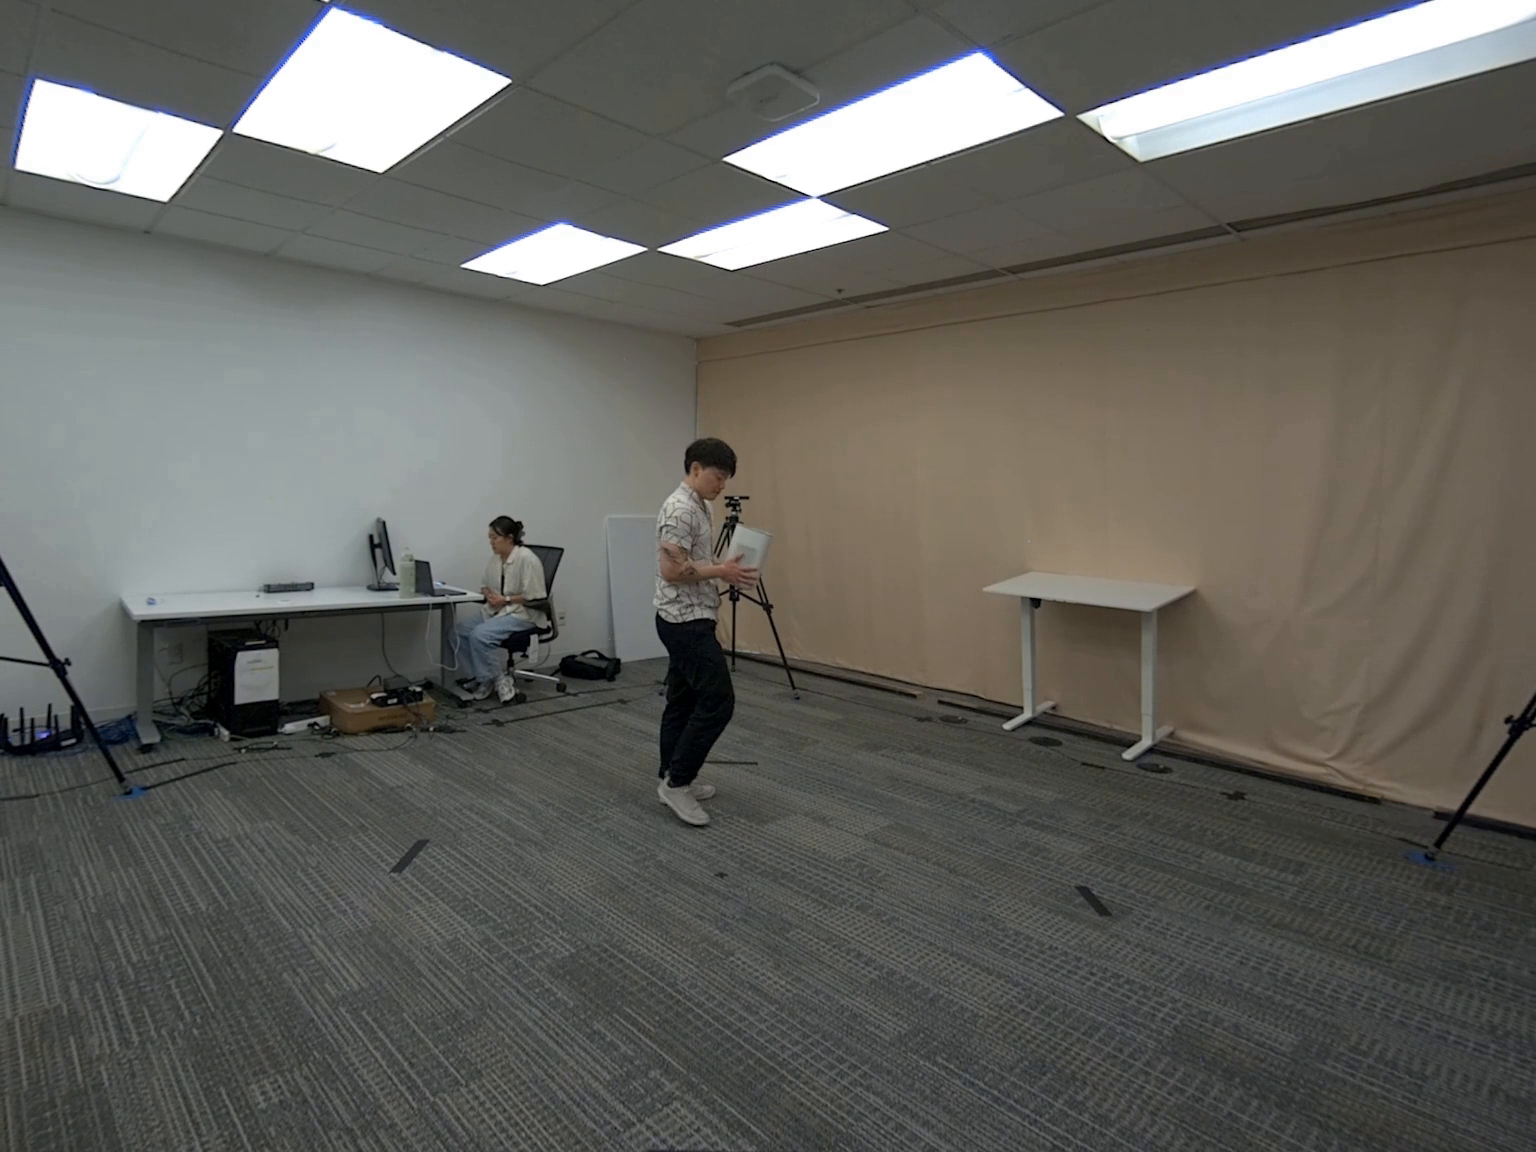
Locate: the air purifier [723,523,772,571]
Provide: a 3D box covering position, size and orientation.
[{"bbox_3d":[-0.114,-0.089,3.760,0.173,0.265,0.170,19,4,10],"label":"air purifier"}]
